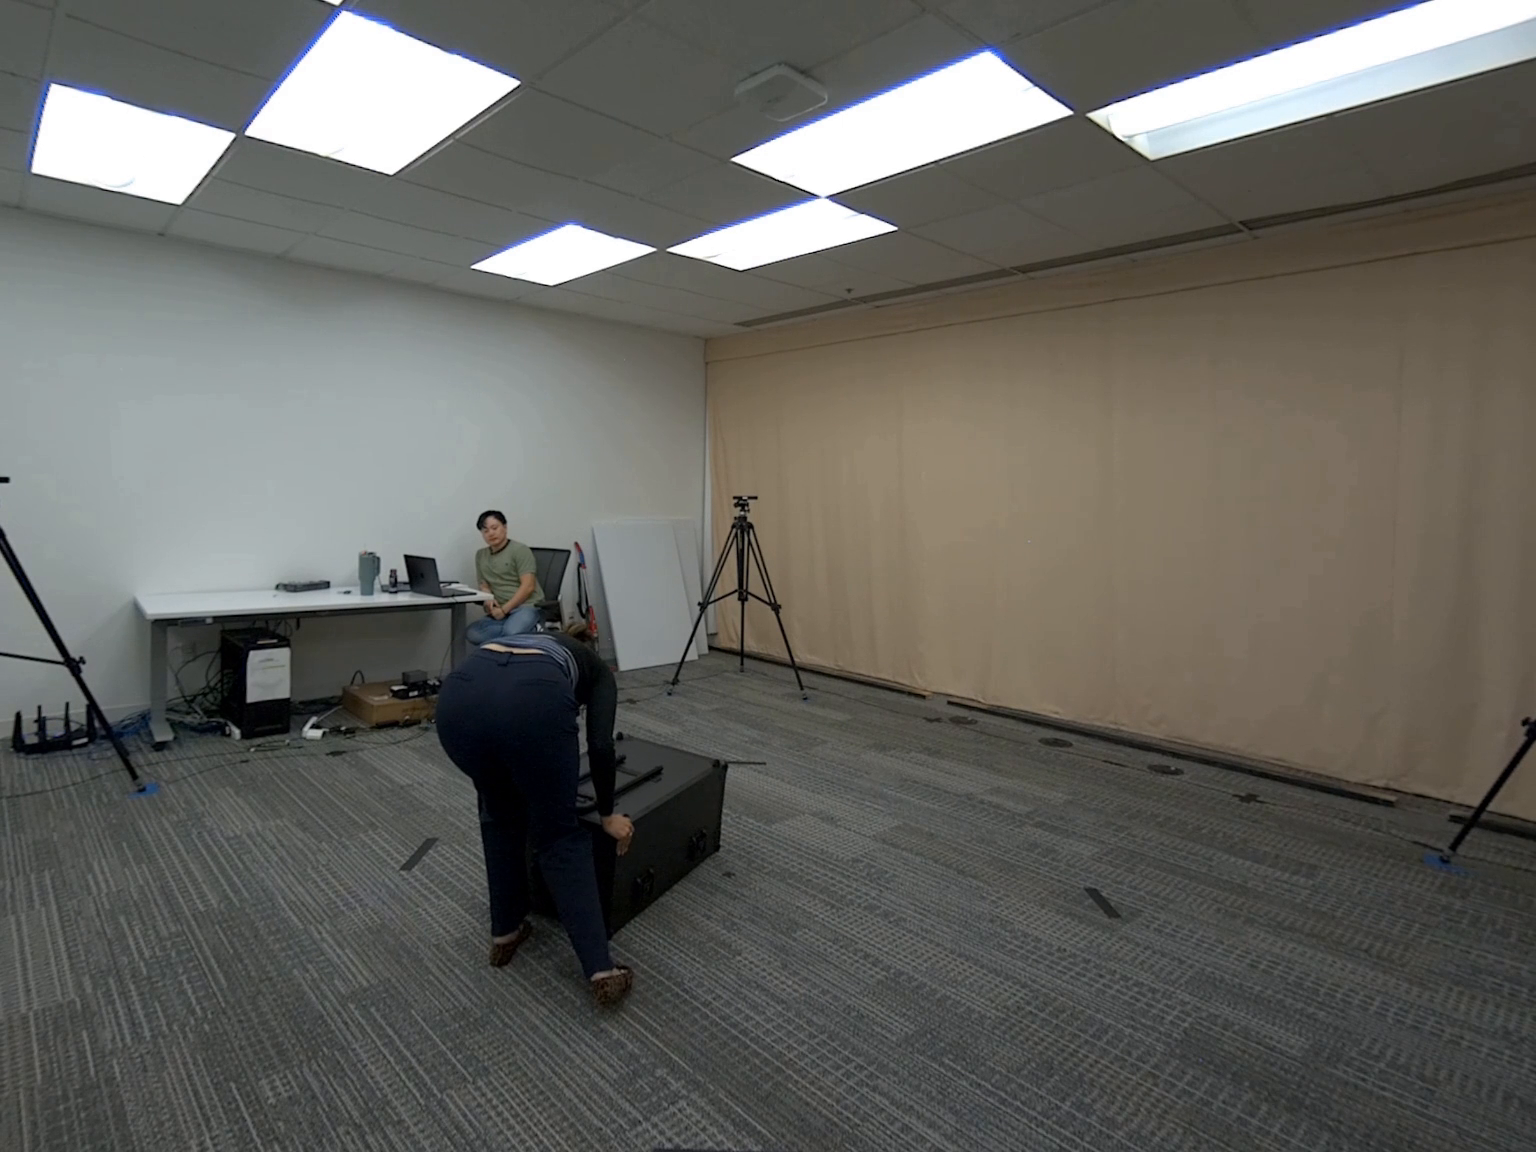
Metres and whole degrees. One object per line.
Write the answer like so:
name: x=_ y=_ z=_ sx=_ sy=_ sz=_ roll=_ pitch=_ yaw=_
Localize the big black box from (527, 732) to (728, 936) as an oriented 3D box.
big black box: x=-0.535 y=0.882 z=3.095 sx=0.532 sy=0.395 sz=0.847 roll=8 pitch=6 yaw=23
